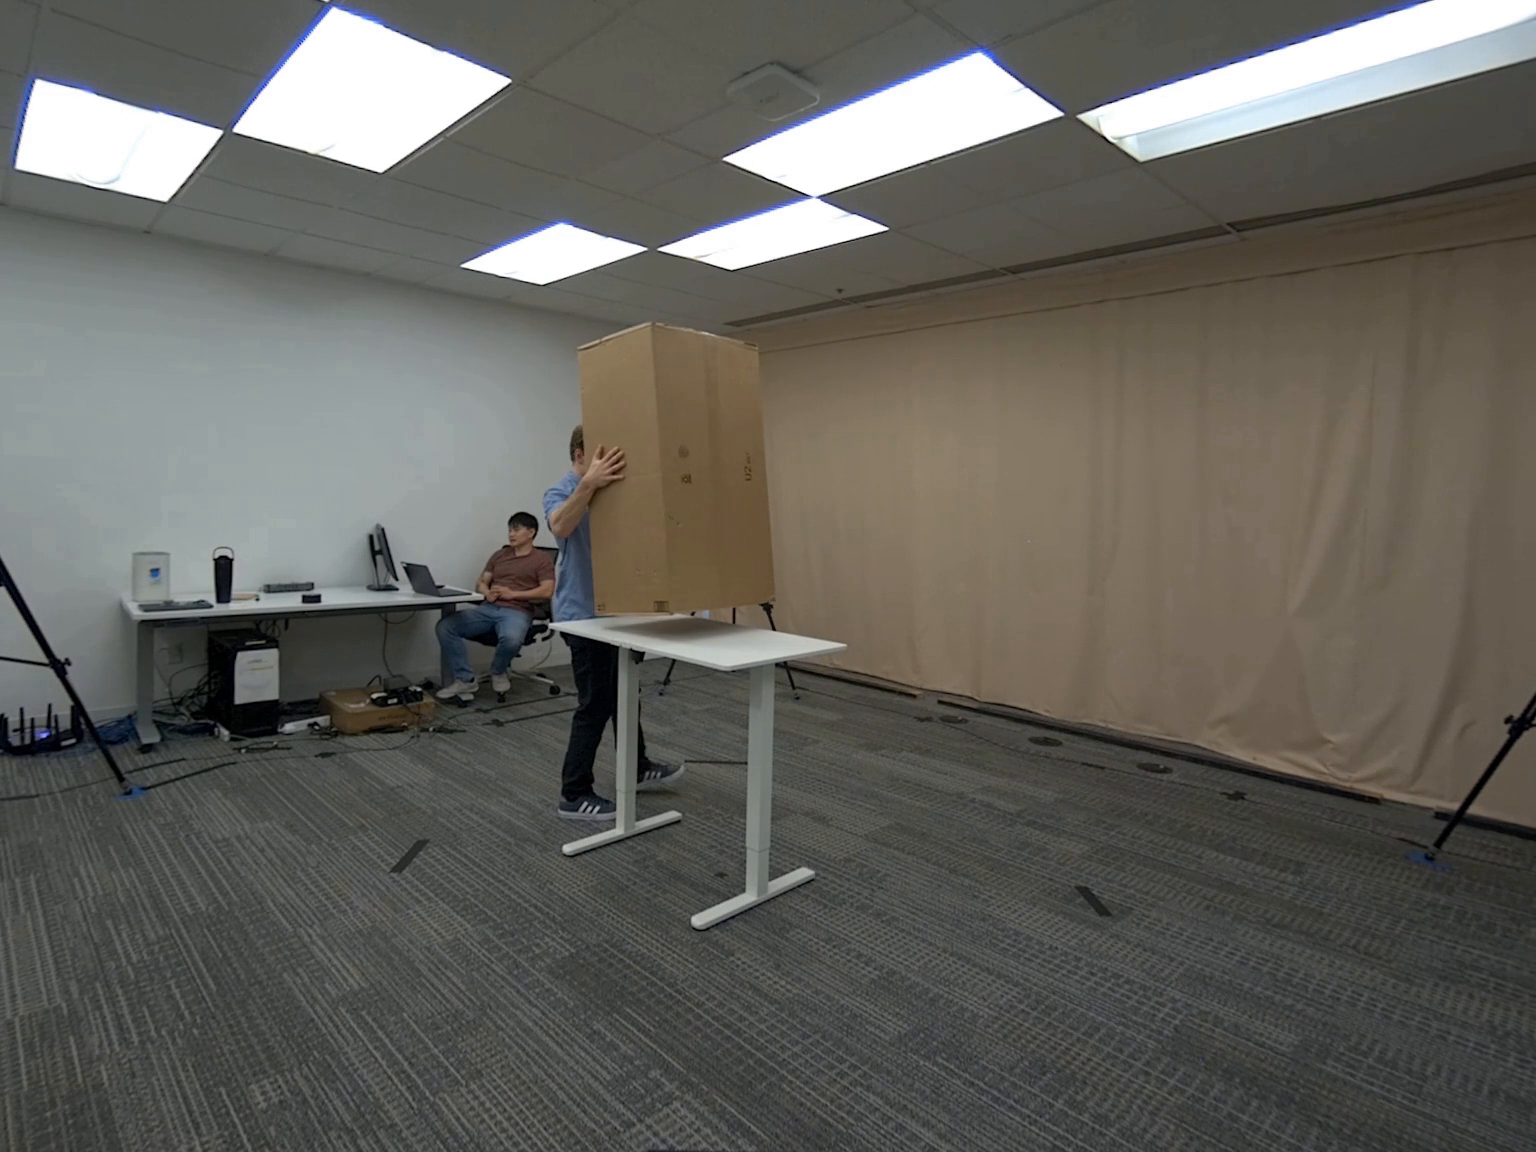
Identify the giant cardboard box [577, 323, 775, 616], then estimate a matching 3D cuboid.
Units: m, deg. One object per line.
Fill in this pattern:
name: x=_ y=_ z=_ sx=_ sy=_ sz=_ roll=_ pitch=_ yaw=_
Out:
giant cardboard box: x=-0.355 y=-0.378 z=3.250 sx=0.435 sy=1.027 sz=0.564 roll=-5 pitch=-1 yaw=42
